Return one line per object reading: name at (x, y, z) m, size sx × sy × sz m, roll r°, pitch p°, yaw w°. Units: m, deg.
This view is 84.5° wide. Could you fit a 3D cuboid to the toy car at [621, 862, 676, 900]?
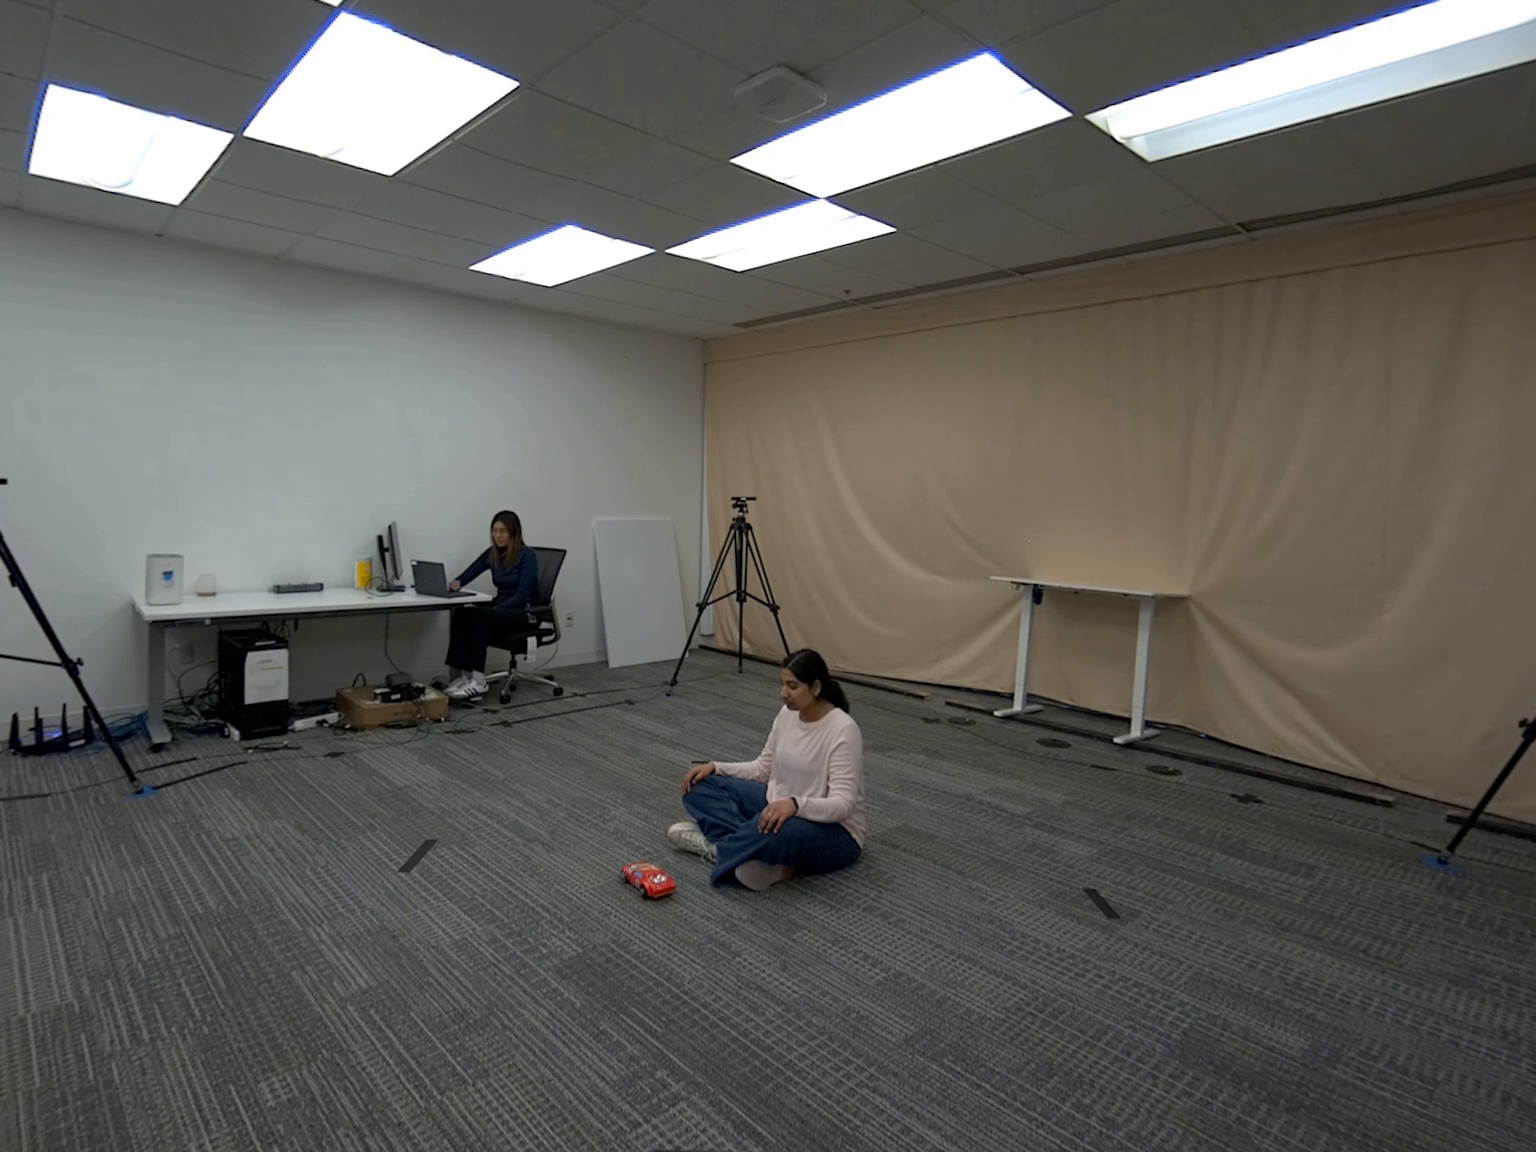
toy car at (-0.423, 1.070, 2.983) m, size 0.127 × 0.083 × 0.259 m, roll -2°, pitch -5°, yaw -37°
